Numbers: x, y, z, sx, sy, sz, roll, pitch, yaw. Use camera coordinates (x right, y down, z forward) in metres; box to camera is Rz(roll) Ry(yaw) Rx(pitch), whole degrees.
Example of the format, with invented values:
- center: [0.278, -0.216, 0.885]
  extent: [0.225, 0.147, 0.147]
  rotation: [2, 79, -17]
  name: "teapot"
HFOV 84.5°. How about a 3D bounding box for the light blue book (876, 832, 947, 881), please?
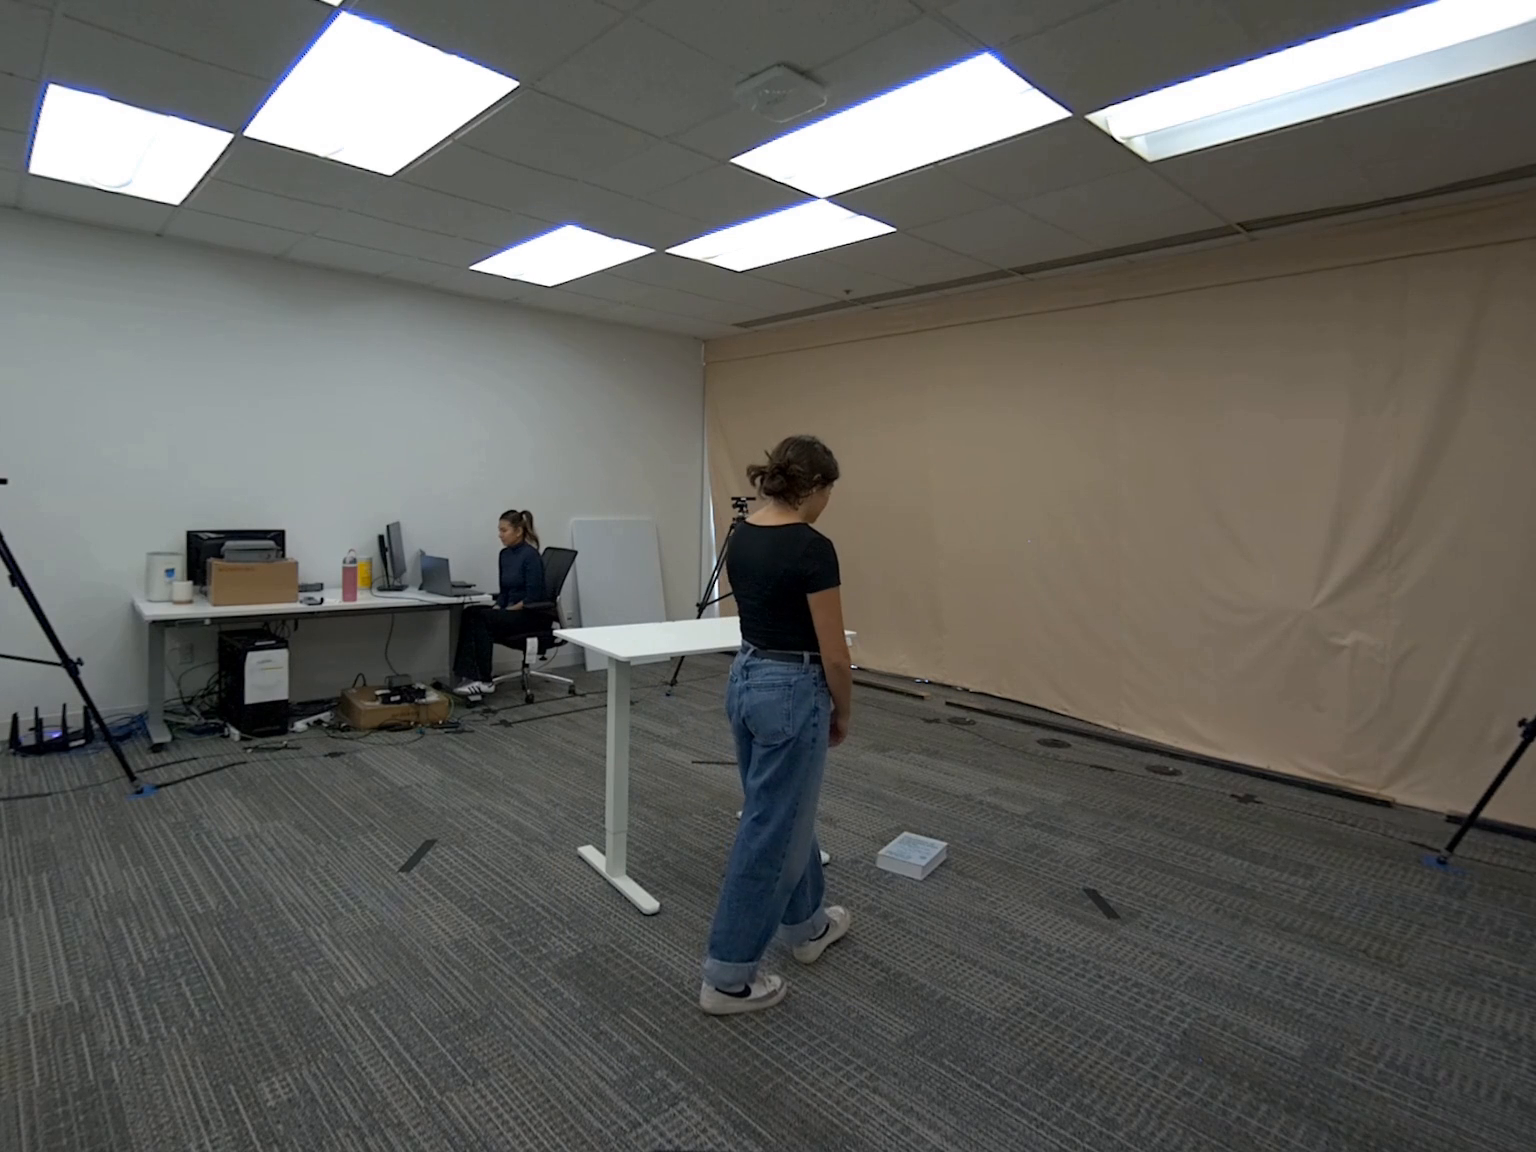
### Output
- center: [0.554, 1.080, 3.258]
  extent: [0.196, 0.059, 0.256]
  rotation: [5, 6, 32]
  name: "light blue book"
